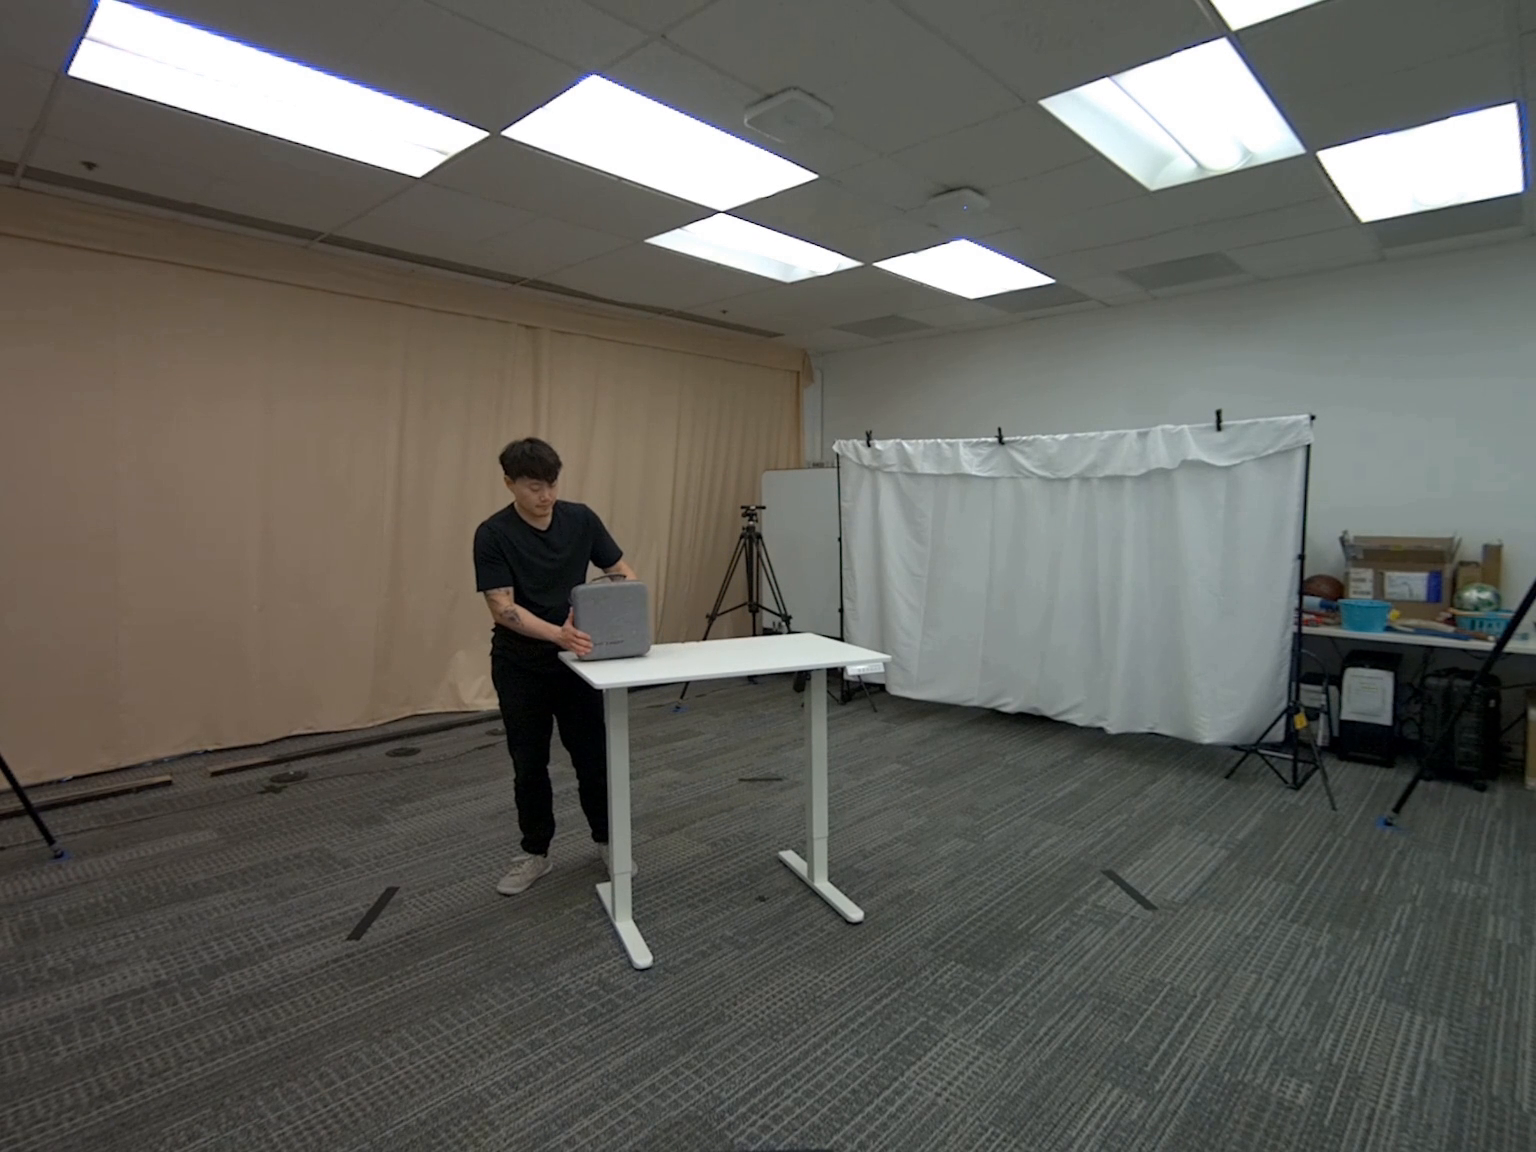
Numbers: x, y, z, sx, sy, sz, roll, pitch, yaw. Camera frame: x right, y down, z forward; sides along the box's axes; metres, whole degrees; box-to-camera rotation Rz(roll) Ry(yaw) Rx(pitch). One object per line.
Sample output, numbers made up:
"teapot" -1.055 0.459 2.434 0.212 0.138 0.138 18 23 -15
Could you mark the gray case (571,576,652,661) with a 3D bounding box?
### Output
"gray case" -0.537 0.147 2.855 0.251 0.261 0.106 -3 -2 -23
